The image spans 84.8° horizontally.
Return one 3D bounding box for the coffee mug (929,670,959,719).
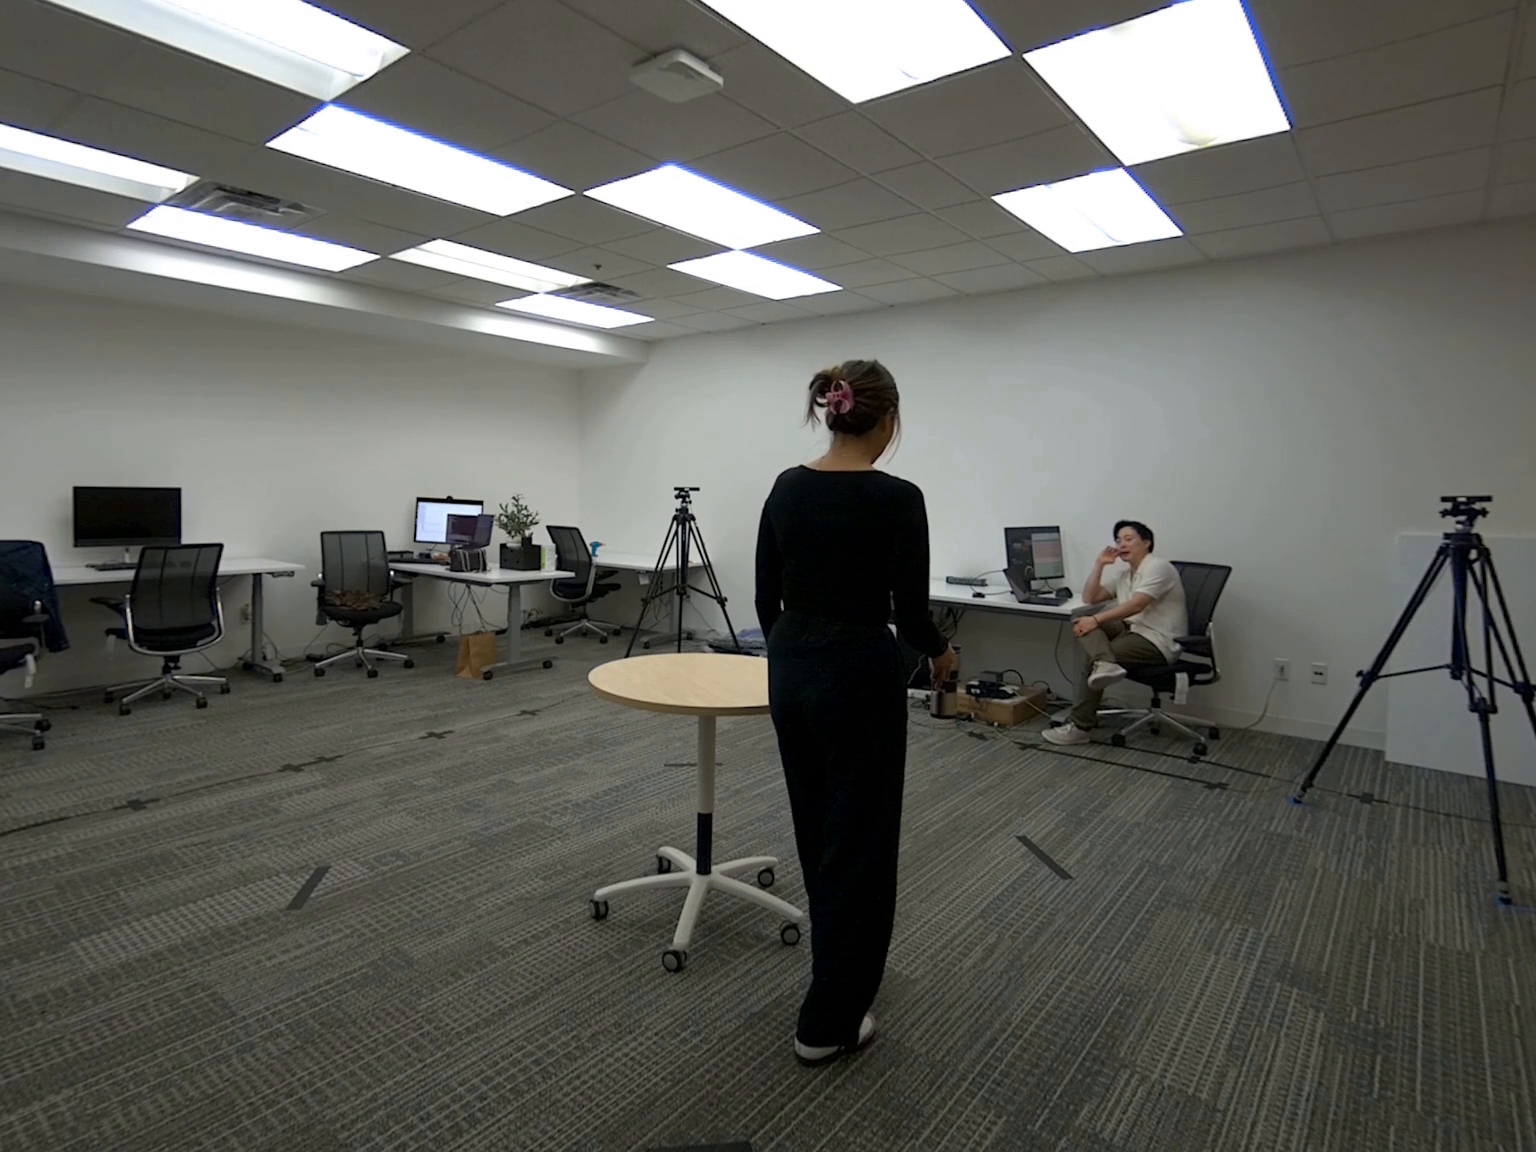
[{"bbox_3d":[0.496,0.286,2.327,0.118,0.203,0.090,-3,1,-36],"label":"coffee mug"}]
